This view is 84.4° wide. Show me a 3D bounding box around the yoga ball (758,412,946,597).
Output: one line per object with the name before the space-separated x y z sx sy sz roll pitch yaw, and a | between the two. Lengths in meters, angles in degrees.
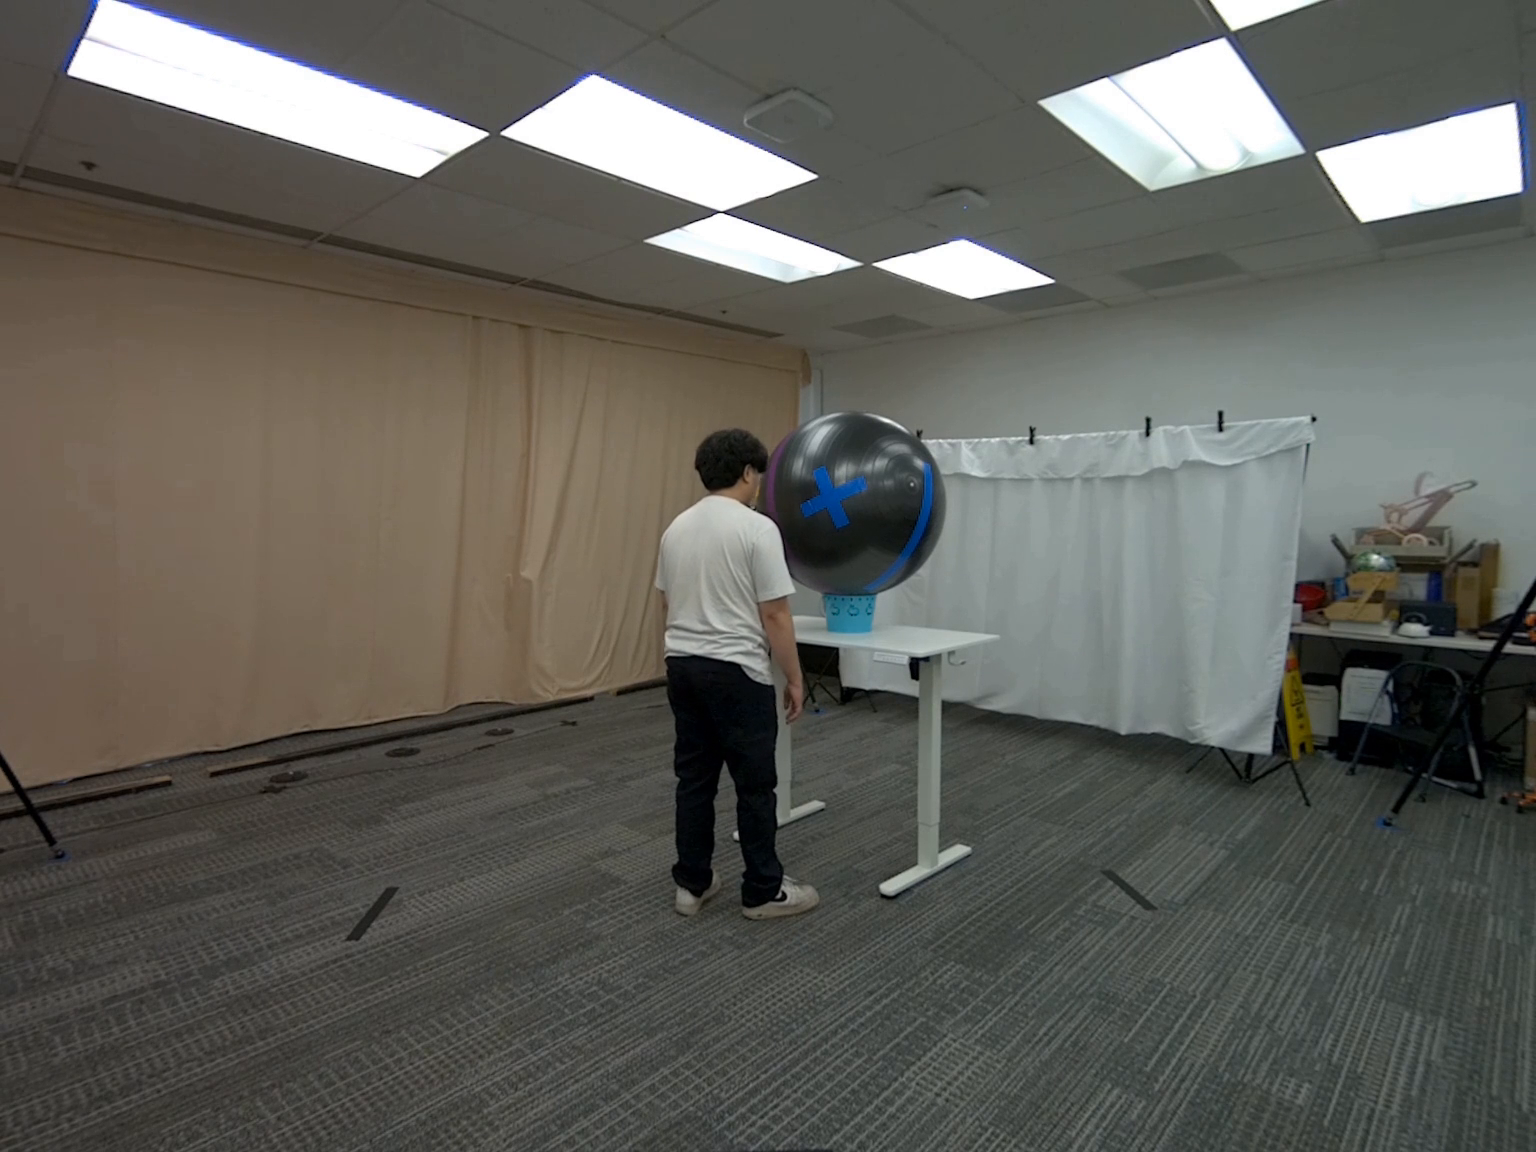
yoga ball | 0.337 -0.280 3.433 0.757 0.756 0.760 0 4 -2
